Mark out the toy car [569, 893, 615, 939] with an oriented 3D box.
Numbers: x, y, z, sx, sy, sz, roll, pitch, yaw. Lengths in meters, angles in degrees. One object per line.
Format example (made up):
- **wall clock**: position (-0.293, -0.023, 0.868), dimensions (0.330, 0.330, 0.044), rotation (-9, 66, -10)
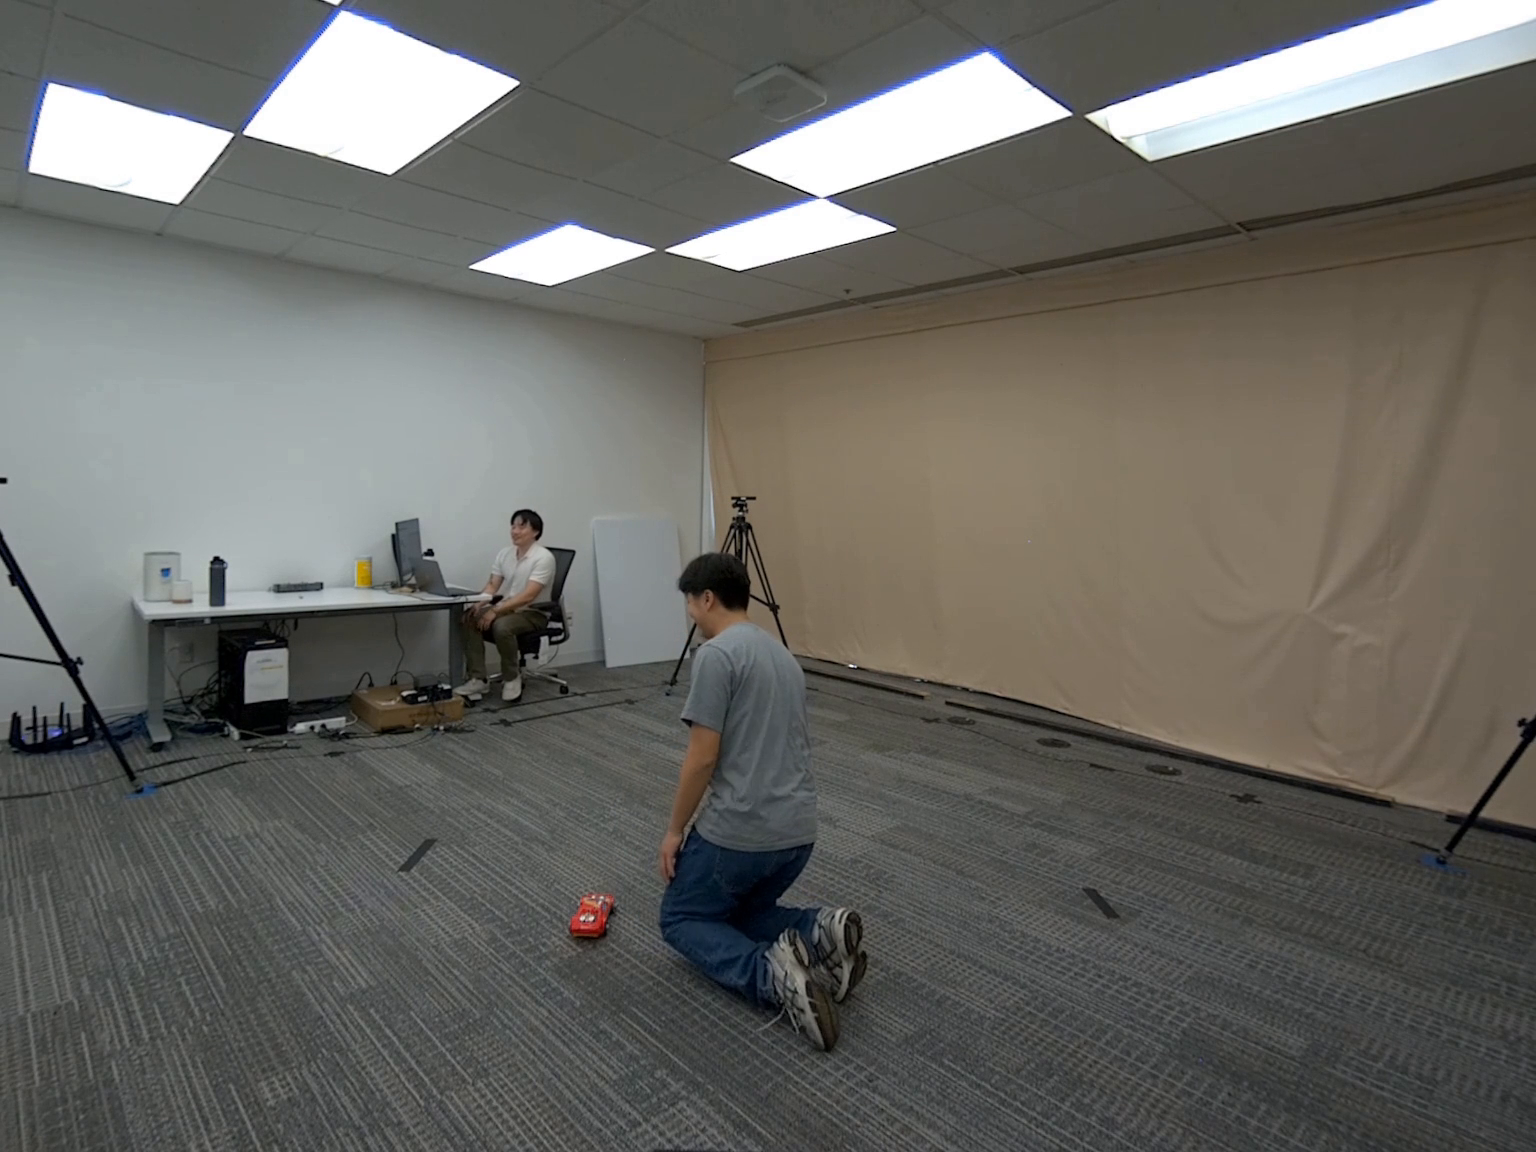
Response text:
- **toy car**: position (-0.574, 1.099, 2.711), dimensions (0.130, 0.083, 0.253), rotation (3, -5, 1)
